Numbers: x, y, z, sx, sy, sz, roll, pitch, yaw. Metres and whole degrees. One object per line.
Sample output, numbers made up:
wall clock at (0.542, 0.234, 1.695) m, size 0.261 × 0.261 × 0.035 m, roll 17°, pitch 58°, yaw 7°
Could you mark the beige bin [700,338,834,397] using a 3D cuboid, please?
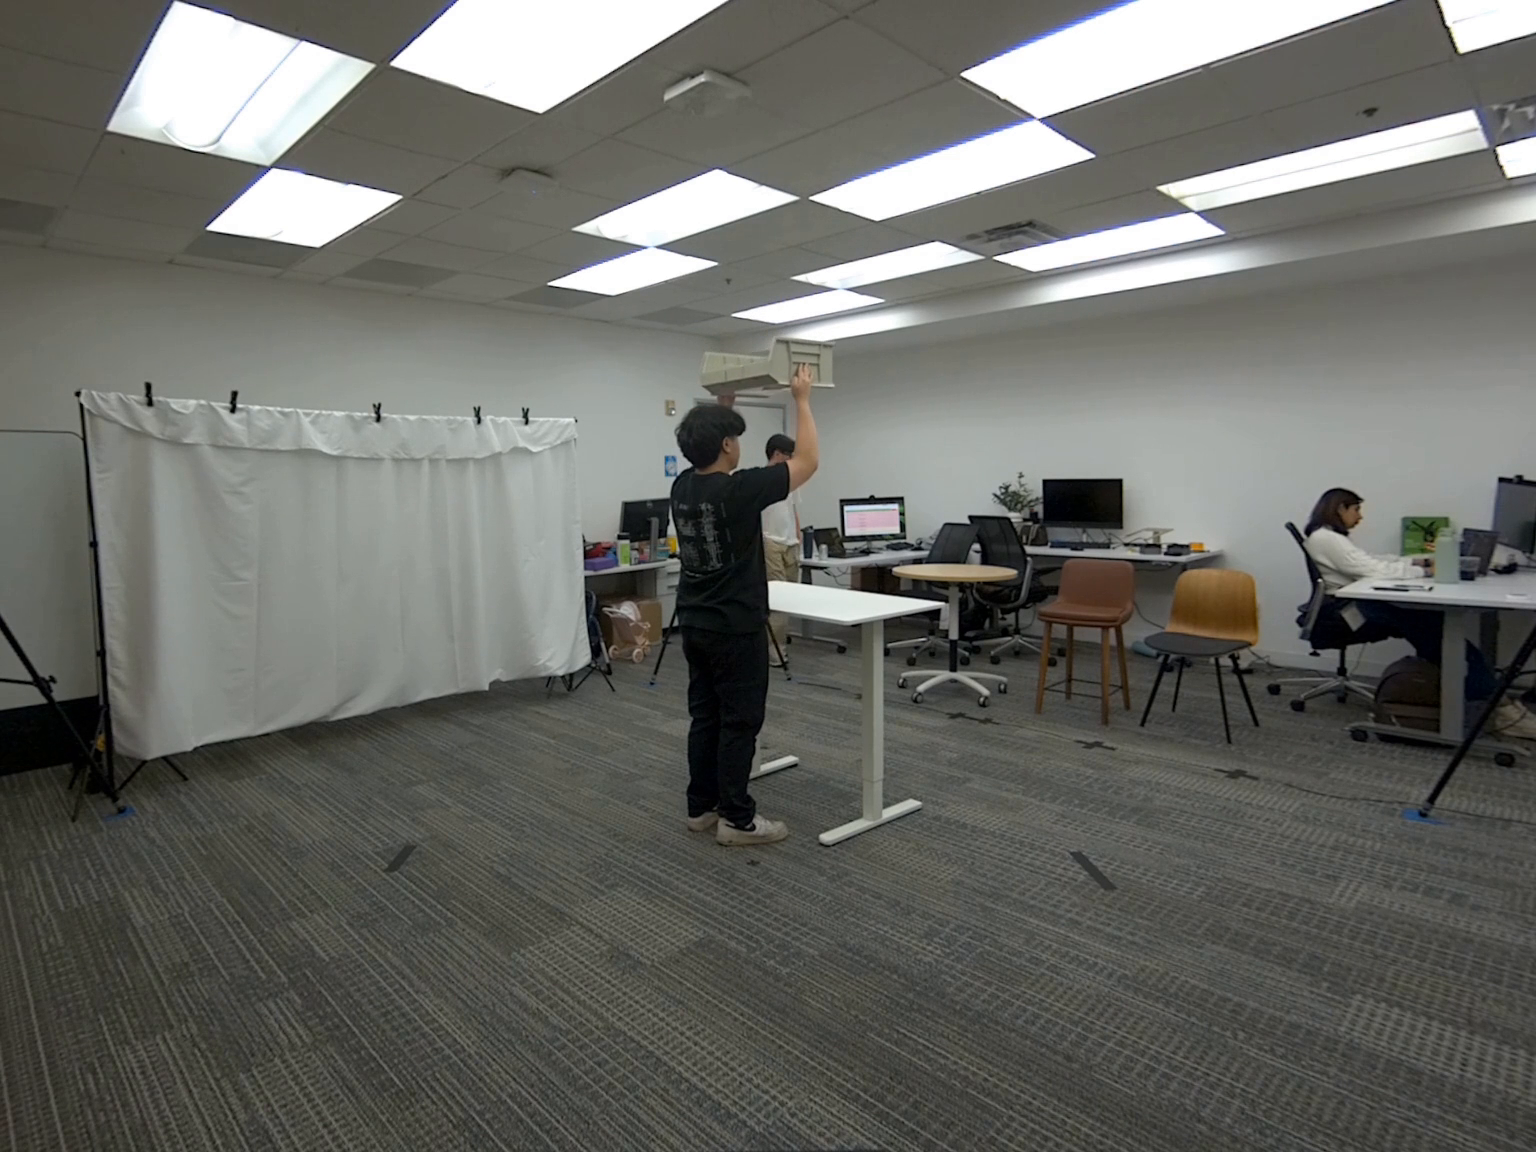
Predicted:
beige bin at (0.001, -0.835, 3.460) m, size 0.367 × 0.188 × 0.435 m, roll -7°, pitch 7°, yaw -41°
